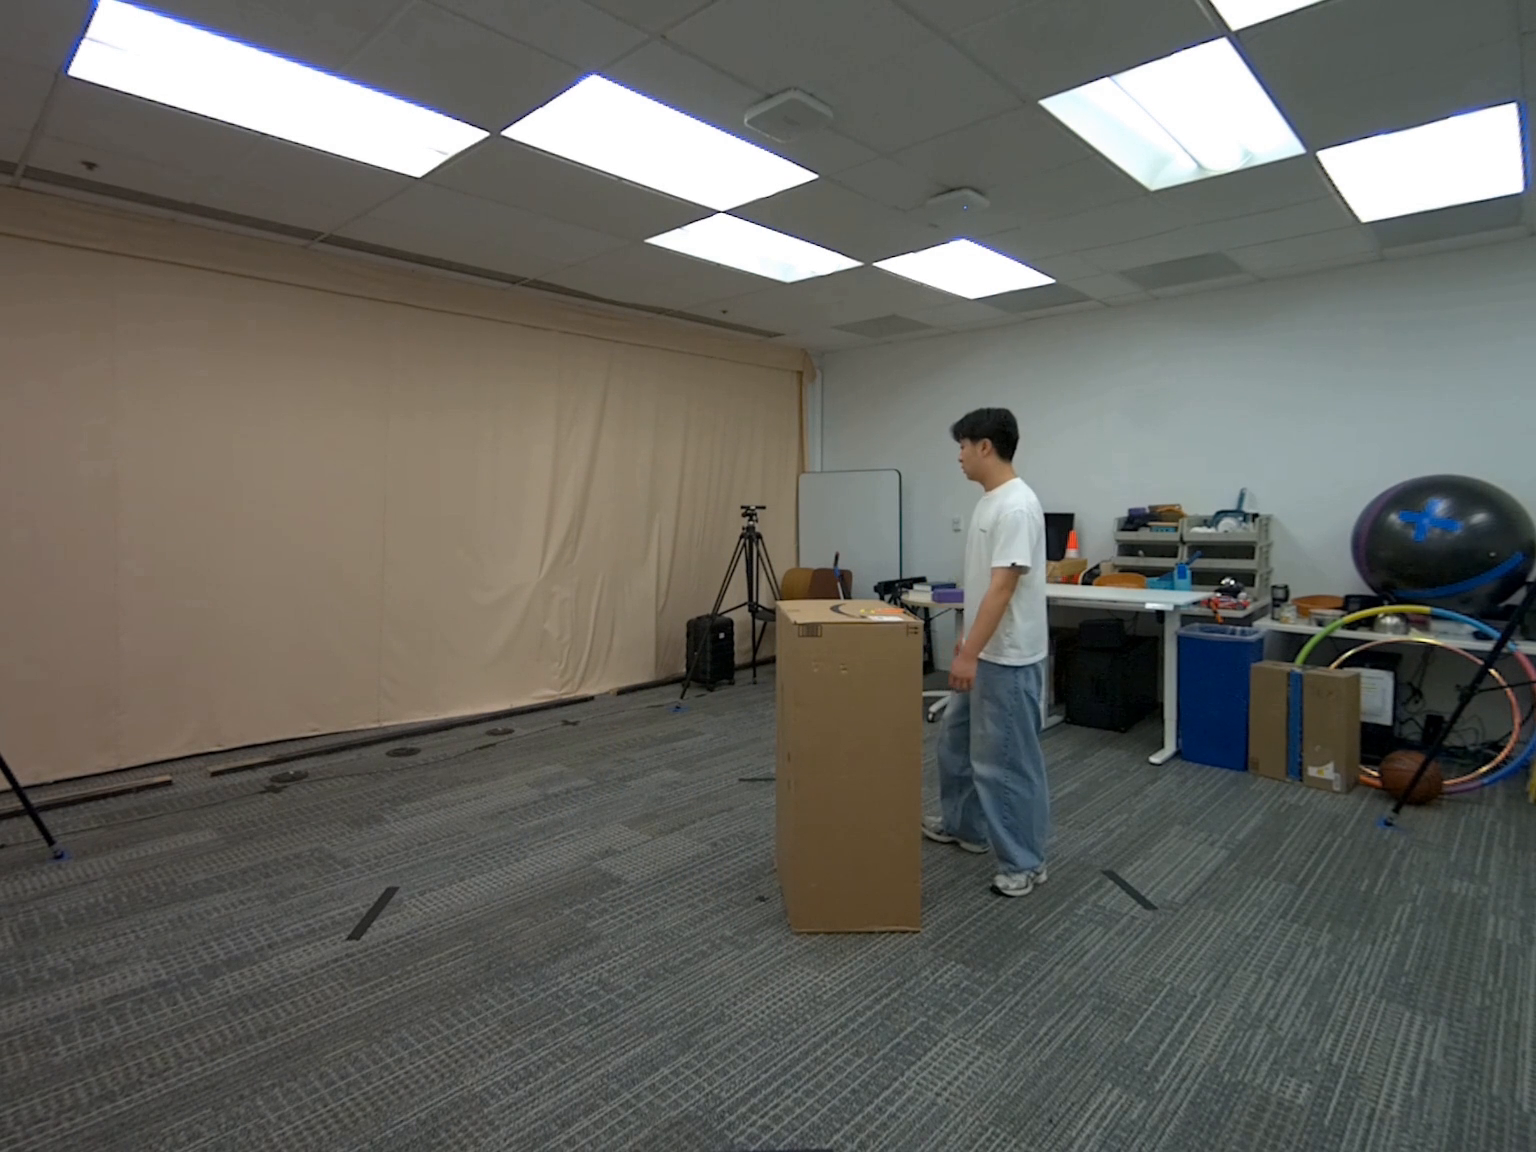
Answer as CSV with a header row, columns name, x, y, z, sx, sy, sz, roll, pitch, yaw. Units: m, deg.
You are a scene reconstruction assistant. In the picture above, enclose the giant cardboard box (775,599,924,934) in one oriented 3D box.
name,x,y,z,sx,sy,sz,roll,pitch,yaw
giant cardboard box,0.271,0.632,2.993,0.424,1.024,0.581,0,3,-5
